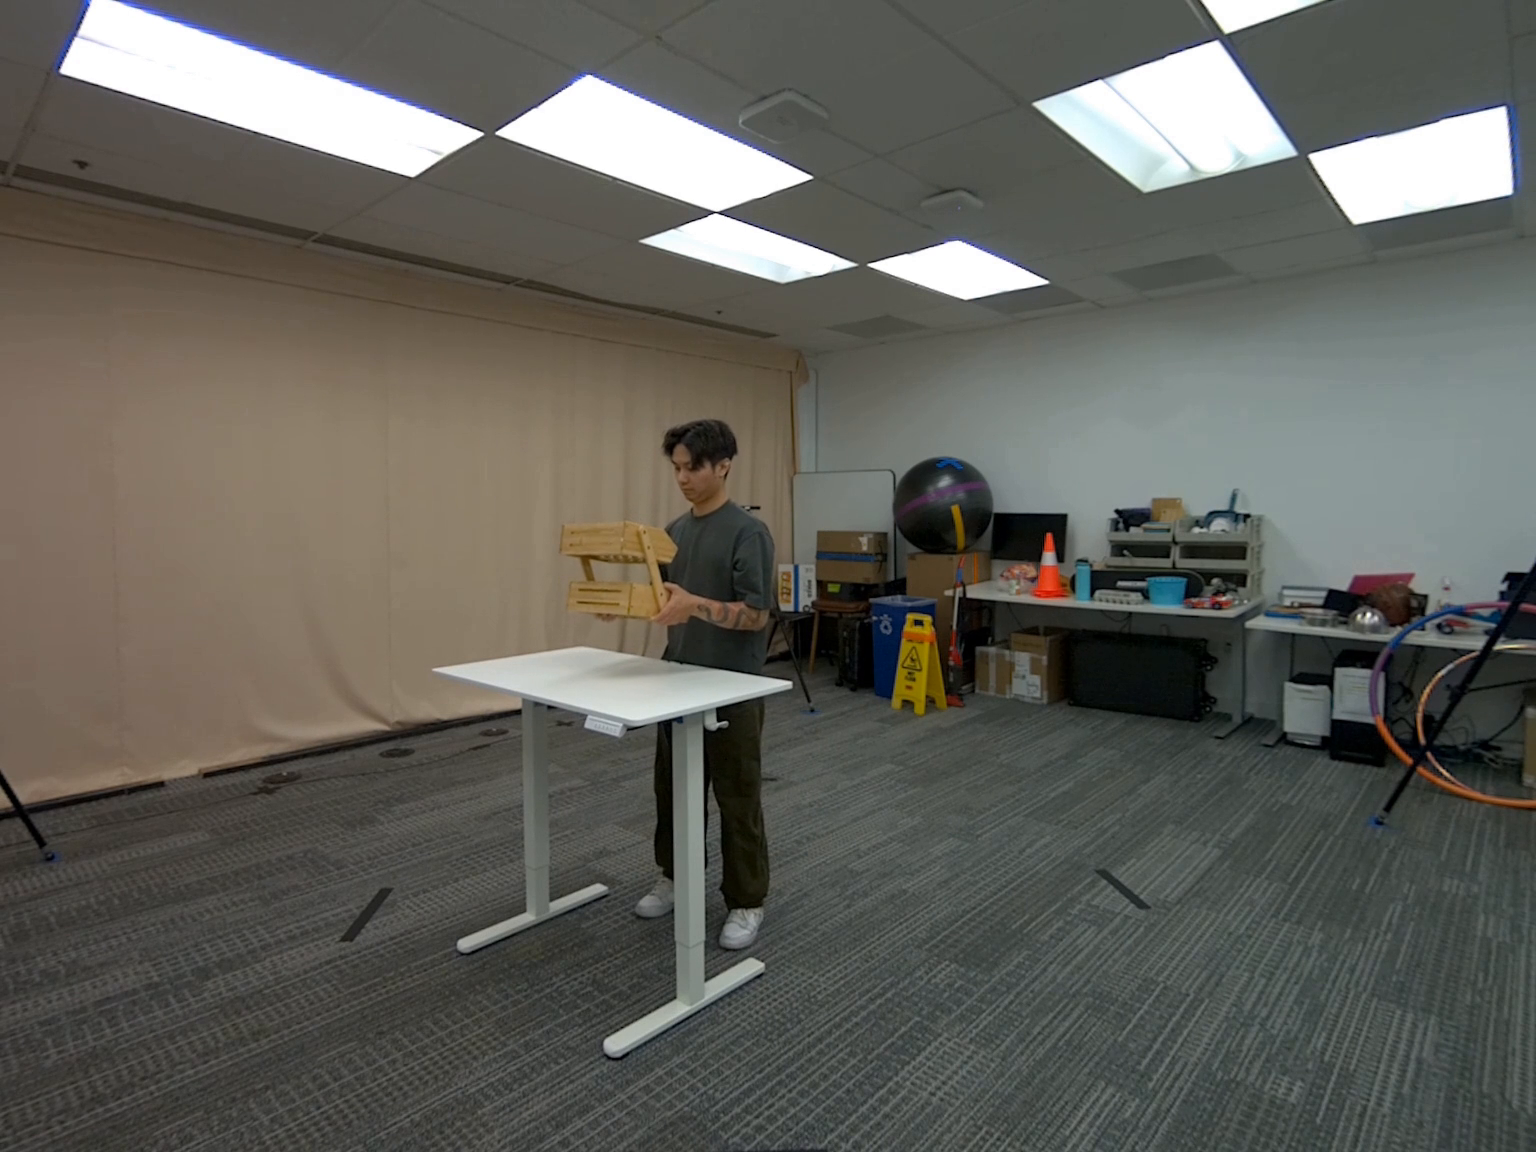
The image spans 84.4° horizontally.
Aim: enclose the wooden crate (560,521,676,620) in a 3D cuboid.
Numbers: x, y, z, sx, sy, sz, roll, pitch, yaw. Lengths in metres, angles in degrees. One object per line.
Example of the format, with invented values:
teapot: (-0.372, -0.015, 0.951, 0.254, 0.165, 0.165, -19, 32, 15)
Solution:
wooden crate: (-0.428, -0.011, 2.582, 0.335, 0.274, 0.291, 0, -8, 42)
